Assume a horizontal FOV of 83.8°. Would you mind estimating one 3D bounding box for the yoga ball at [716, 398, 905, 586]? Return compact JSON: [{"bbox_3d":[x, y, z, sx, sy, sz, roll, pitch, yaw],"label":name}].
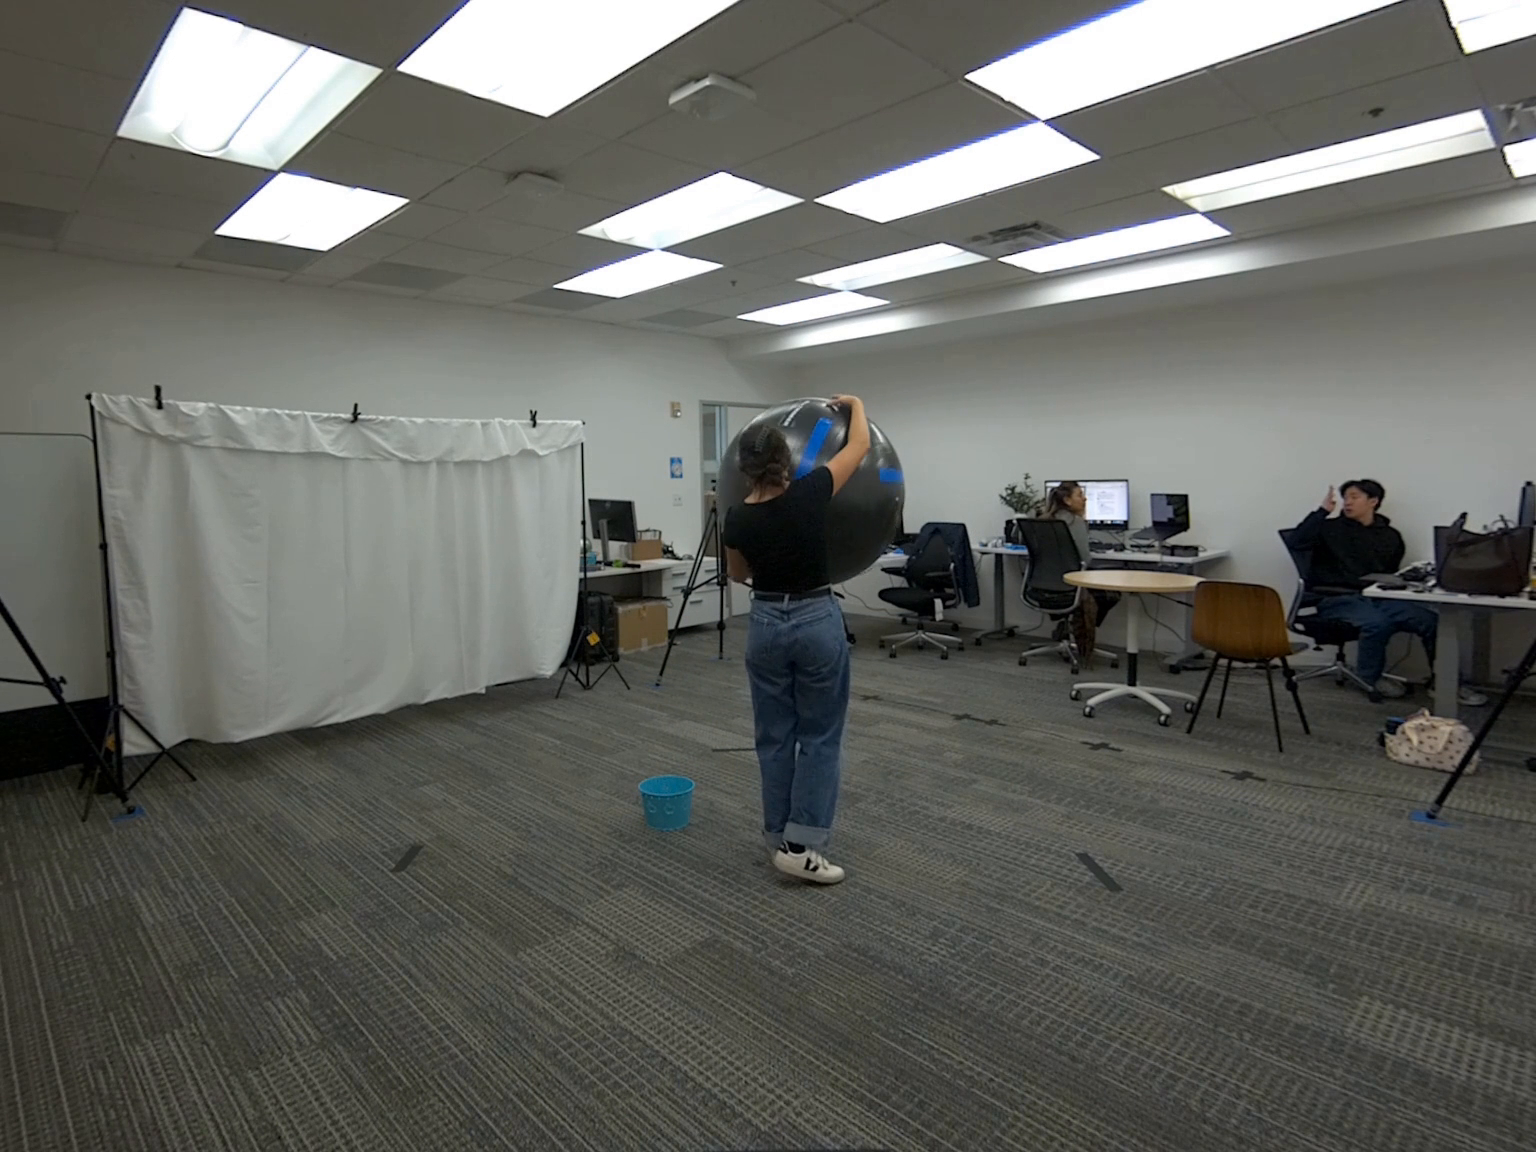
[{"bbox_3d":[0.172,-0.333,3.466,0.757,0.755,0.762,-1,5,-2],"label":"yoga ball"}]
